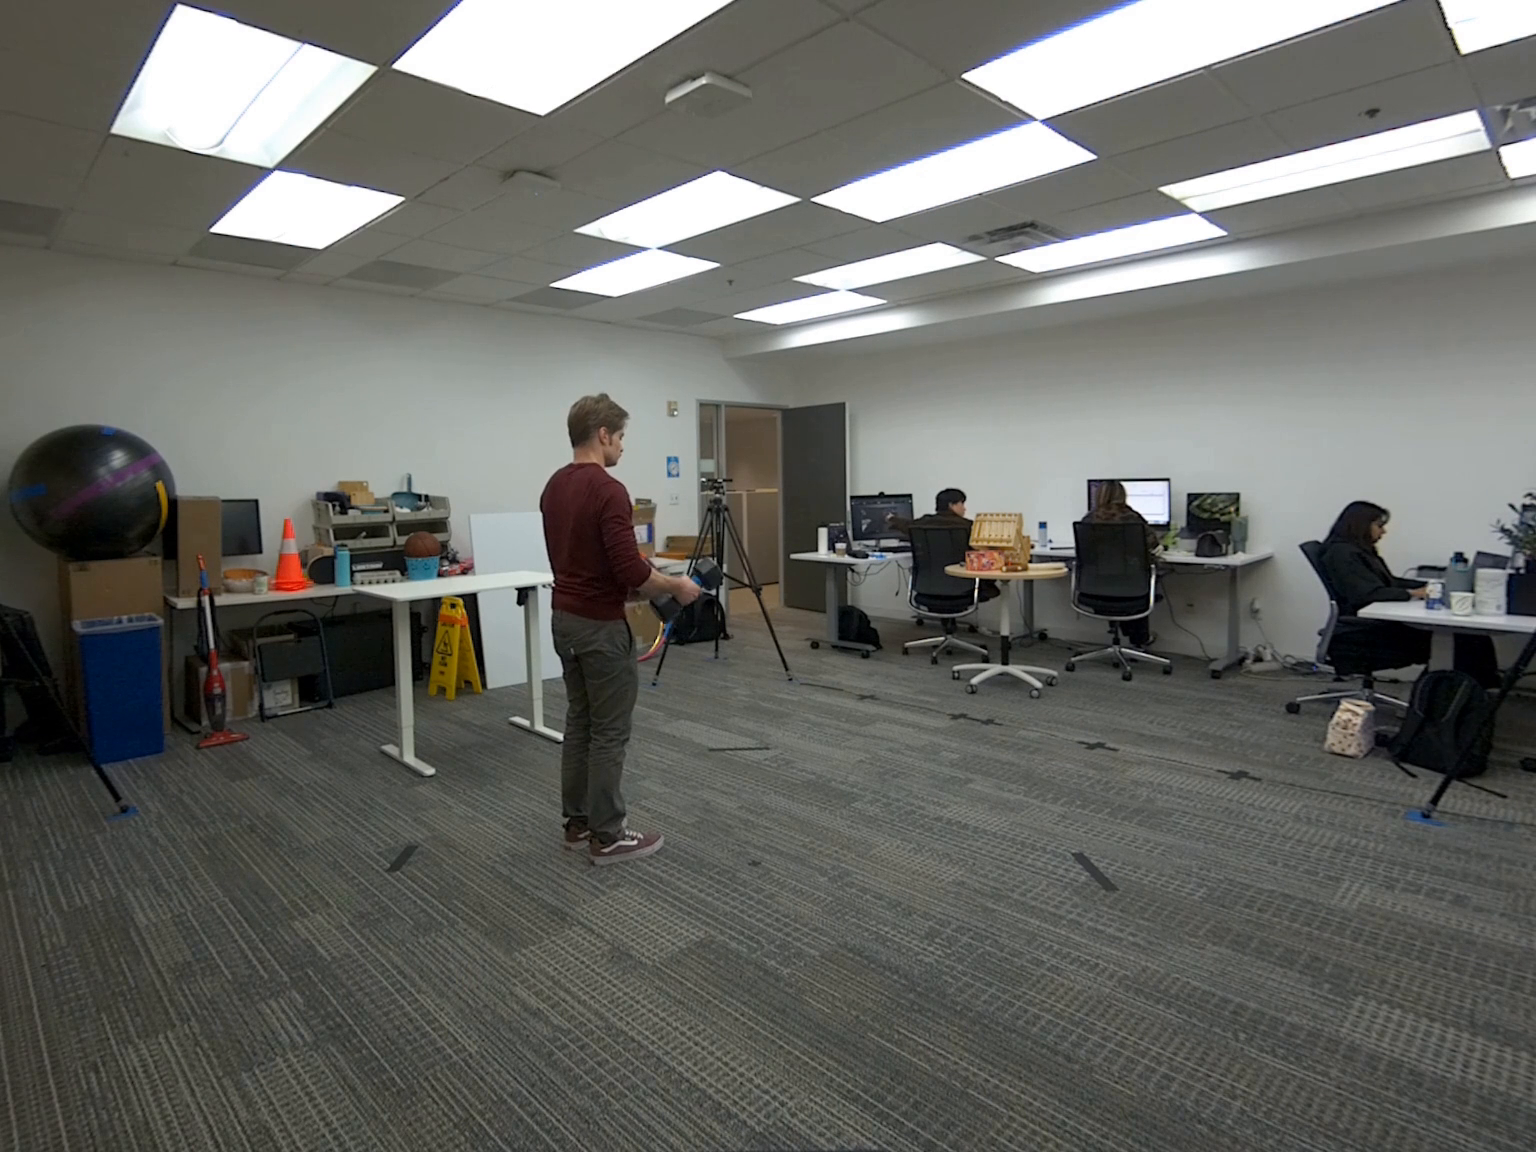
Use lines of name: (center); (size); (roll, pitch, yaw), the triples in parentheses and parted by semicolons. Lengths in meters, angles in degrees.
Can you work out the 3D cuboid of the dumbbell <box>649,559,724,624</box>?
dumbbell: (-0.313, 0.048, 3.235); (0.292, 0.110, 0.121); (-37, -12, -16)
